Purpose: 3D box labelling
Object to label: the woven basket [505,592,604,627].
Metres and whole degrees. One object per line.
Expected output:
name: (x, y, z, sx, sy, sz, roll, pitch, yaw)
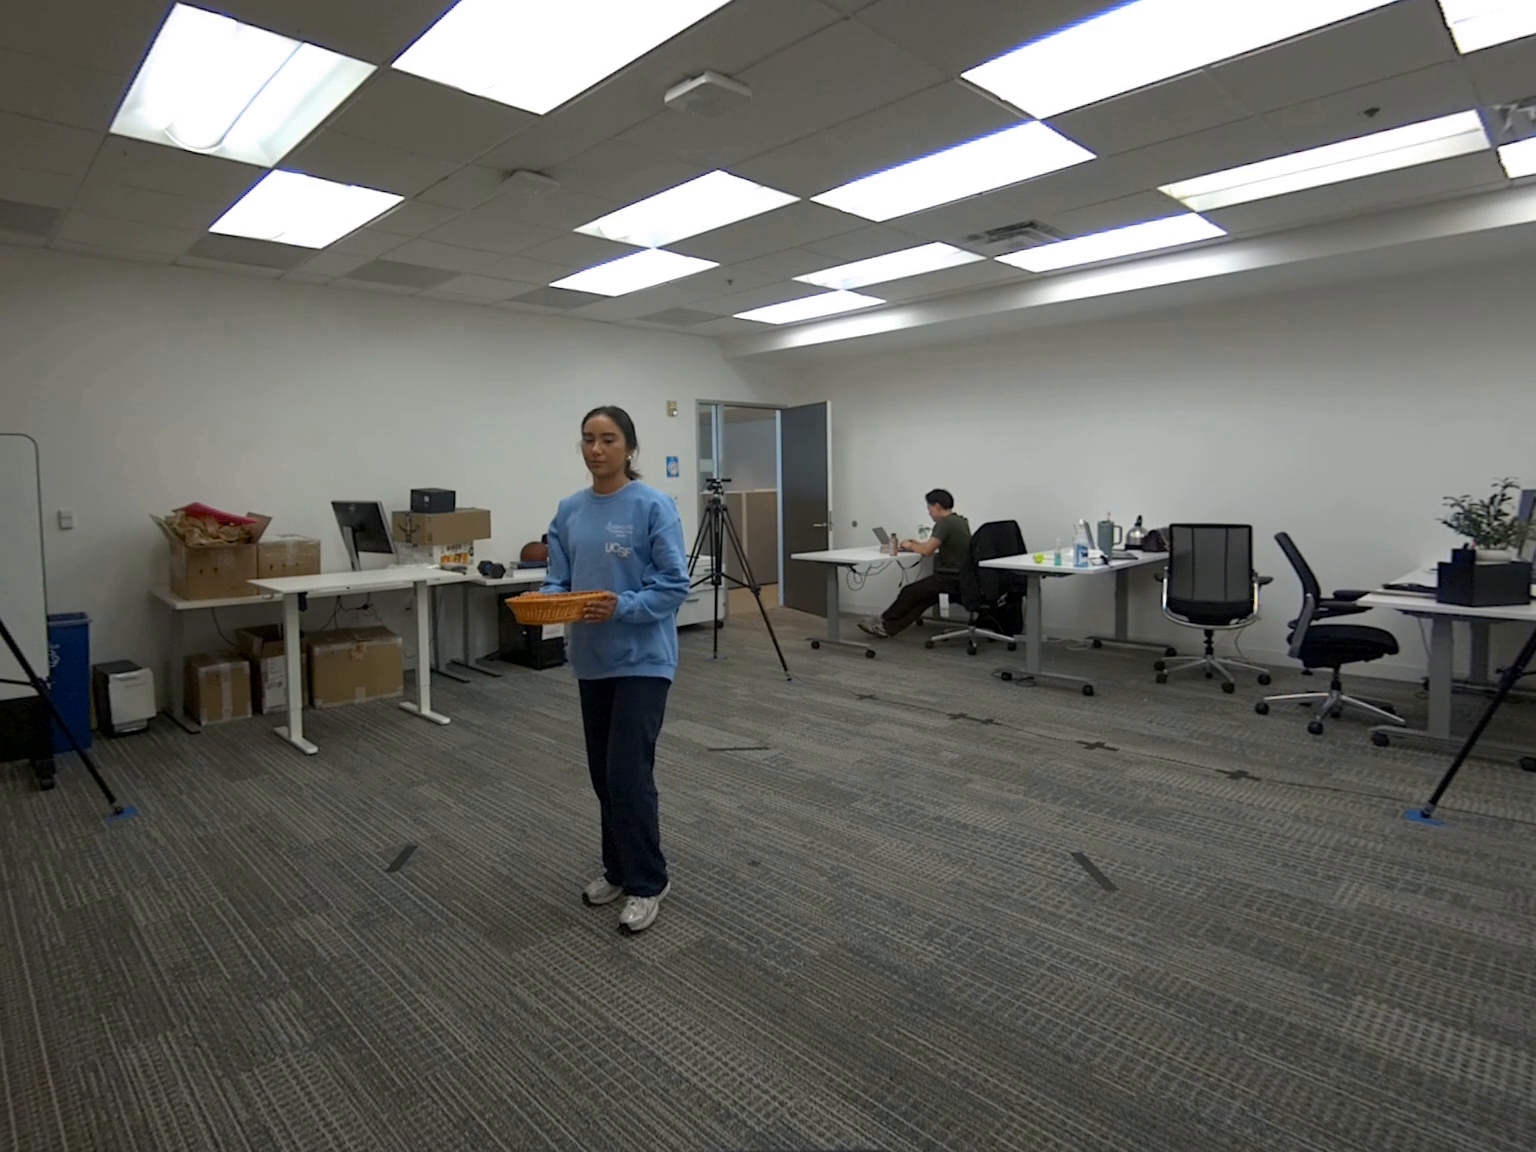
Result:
woven basket: (-0.612, 0.105, 2.517, 0.342, 0.073, 0.258, -4, 2, -31)
